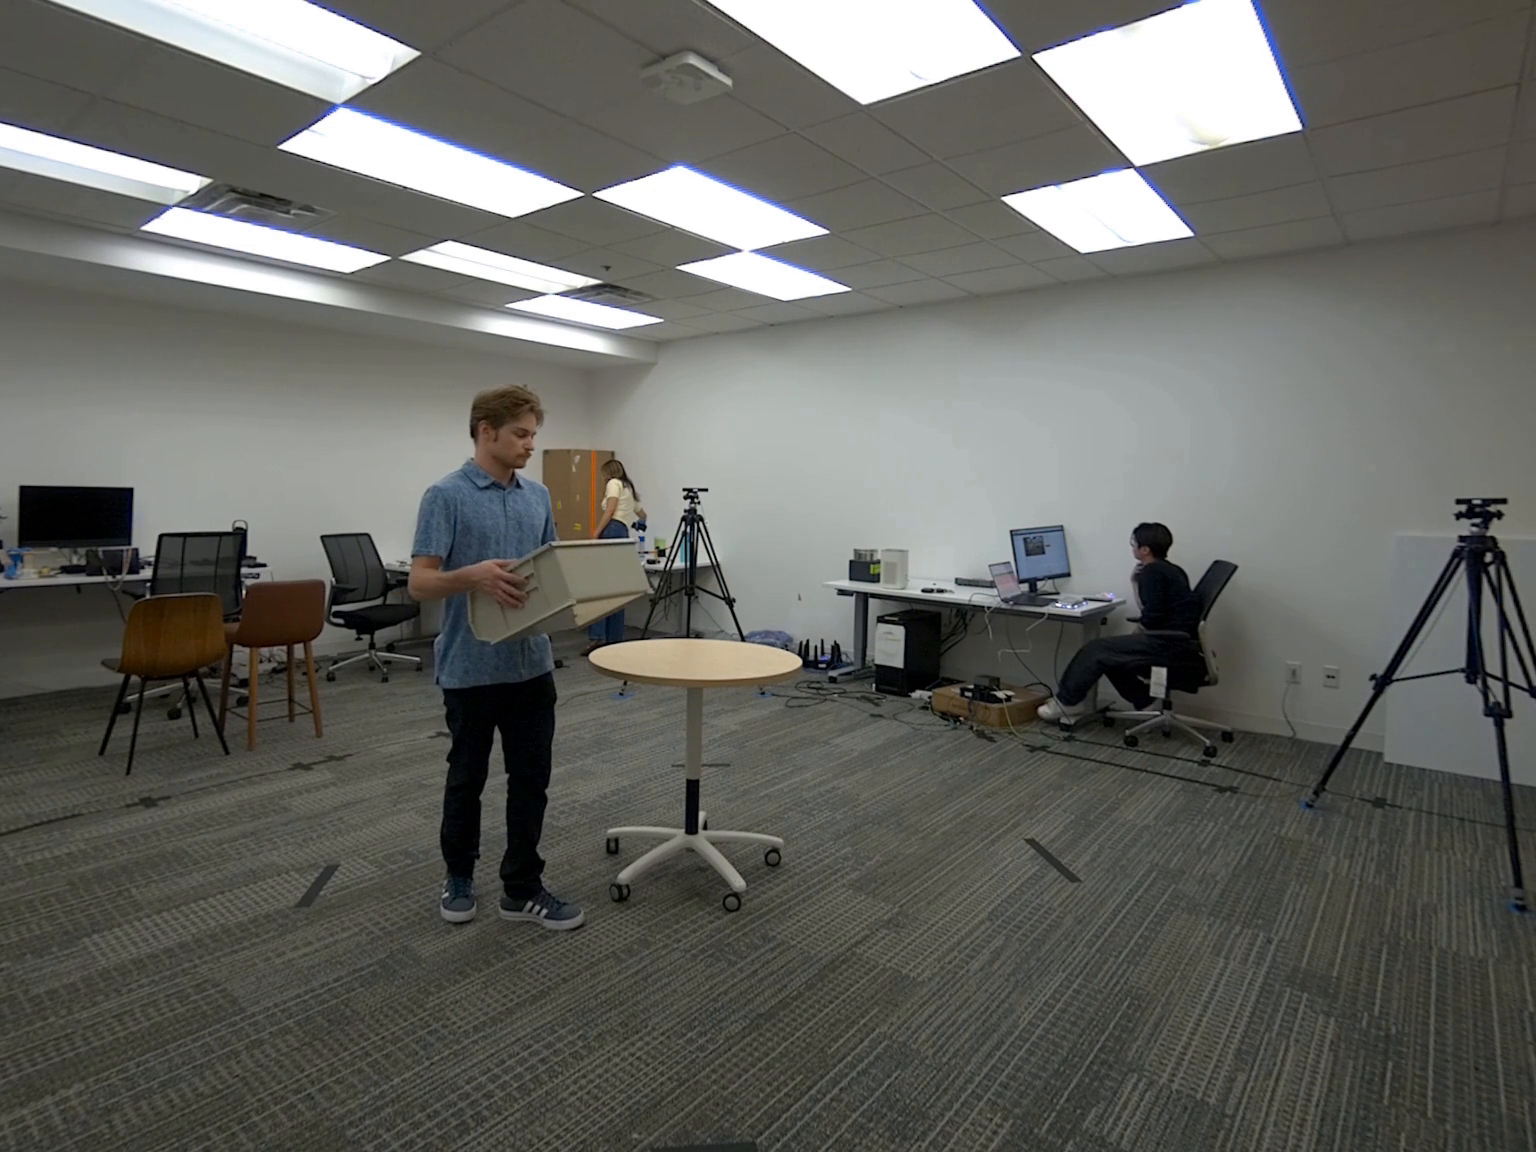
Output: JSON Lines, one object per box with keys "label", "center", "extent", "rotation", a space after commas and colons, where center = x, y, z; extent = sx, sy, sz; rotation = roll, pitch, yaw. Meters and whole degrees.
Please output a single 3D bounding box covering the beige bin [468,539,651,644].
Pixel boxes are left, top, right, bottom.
{"label": "beige bin", "center": [-0.636, 0.041, 2.543], "extent": [0.382, 0.191, 0.412], "rotation": [-23, -6, 26]}
